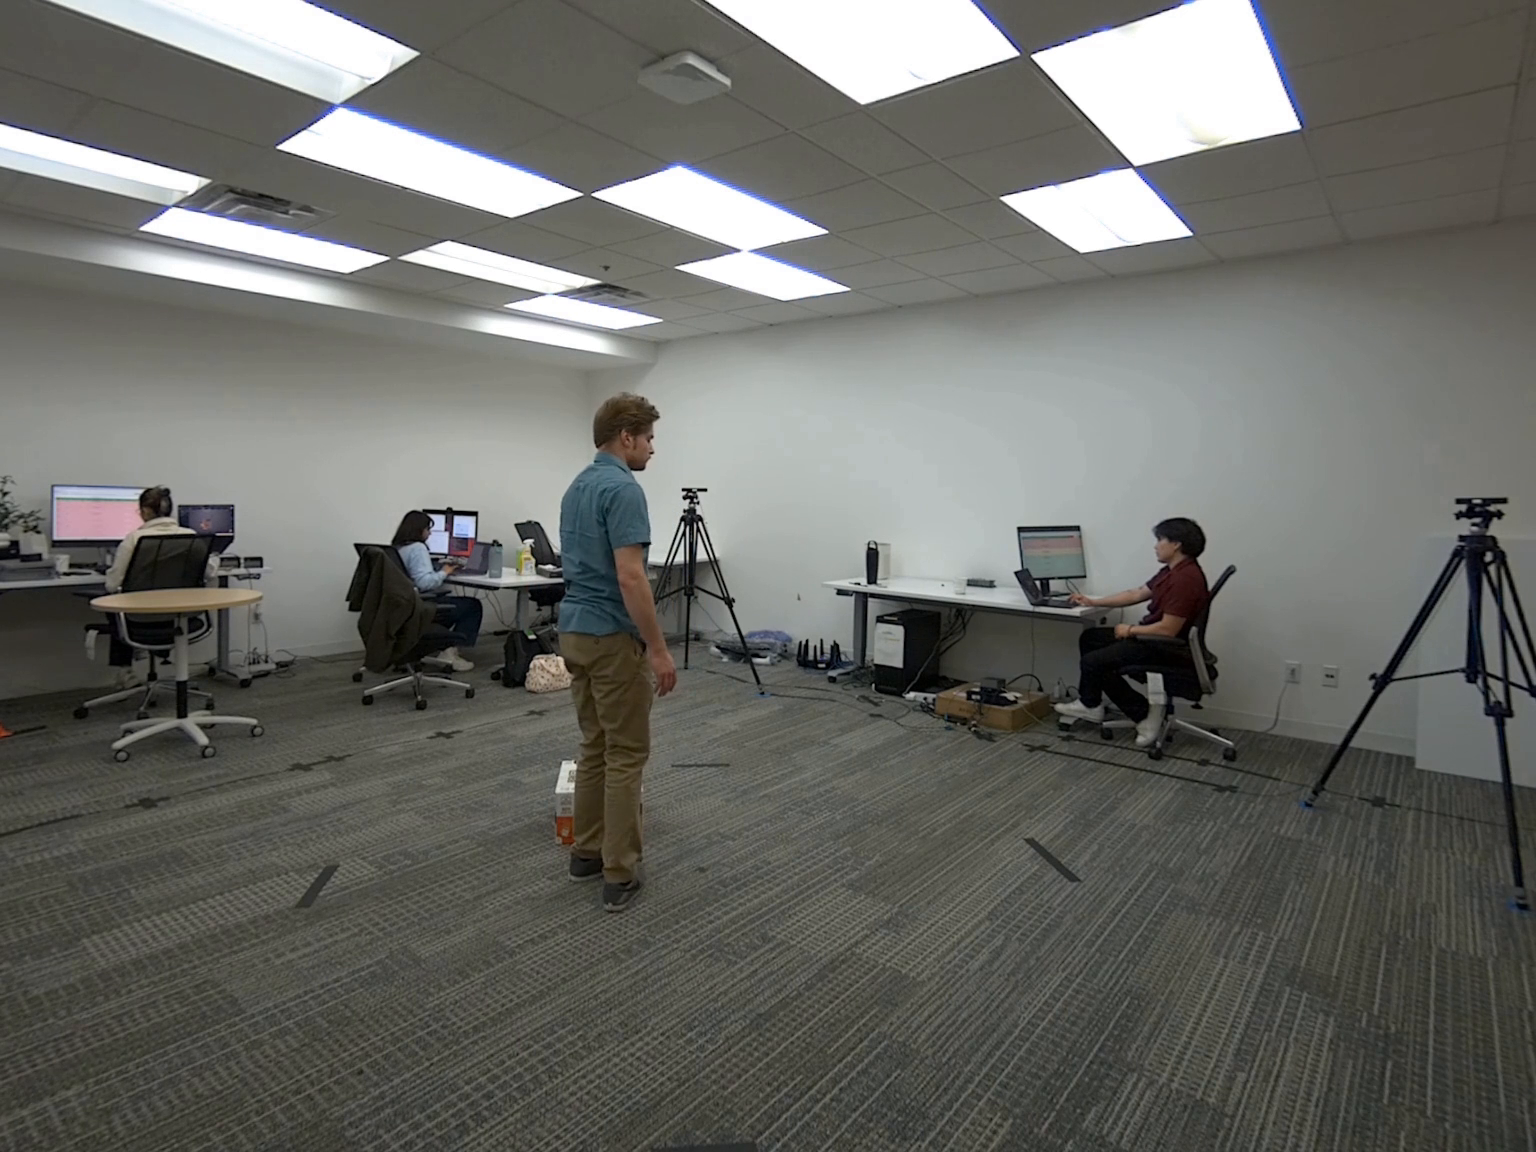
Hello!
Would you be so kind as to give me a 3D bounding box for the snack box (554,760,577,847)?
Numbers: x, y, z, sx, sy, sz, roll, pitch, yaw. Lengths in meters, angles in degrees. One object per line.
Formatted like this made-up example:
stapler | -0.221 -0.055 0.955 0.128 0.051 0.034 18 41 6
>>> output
snack box | -0.708 0.916 3.523 0.337 0.205 0.410 1 5 -9
